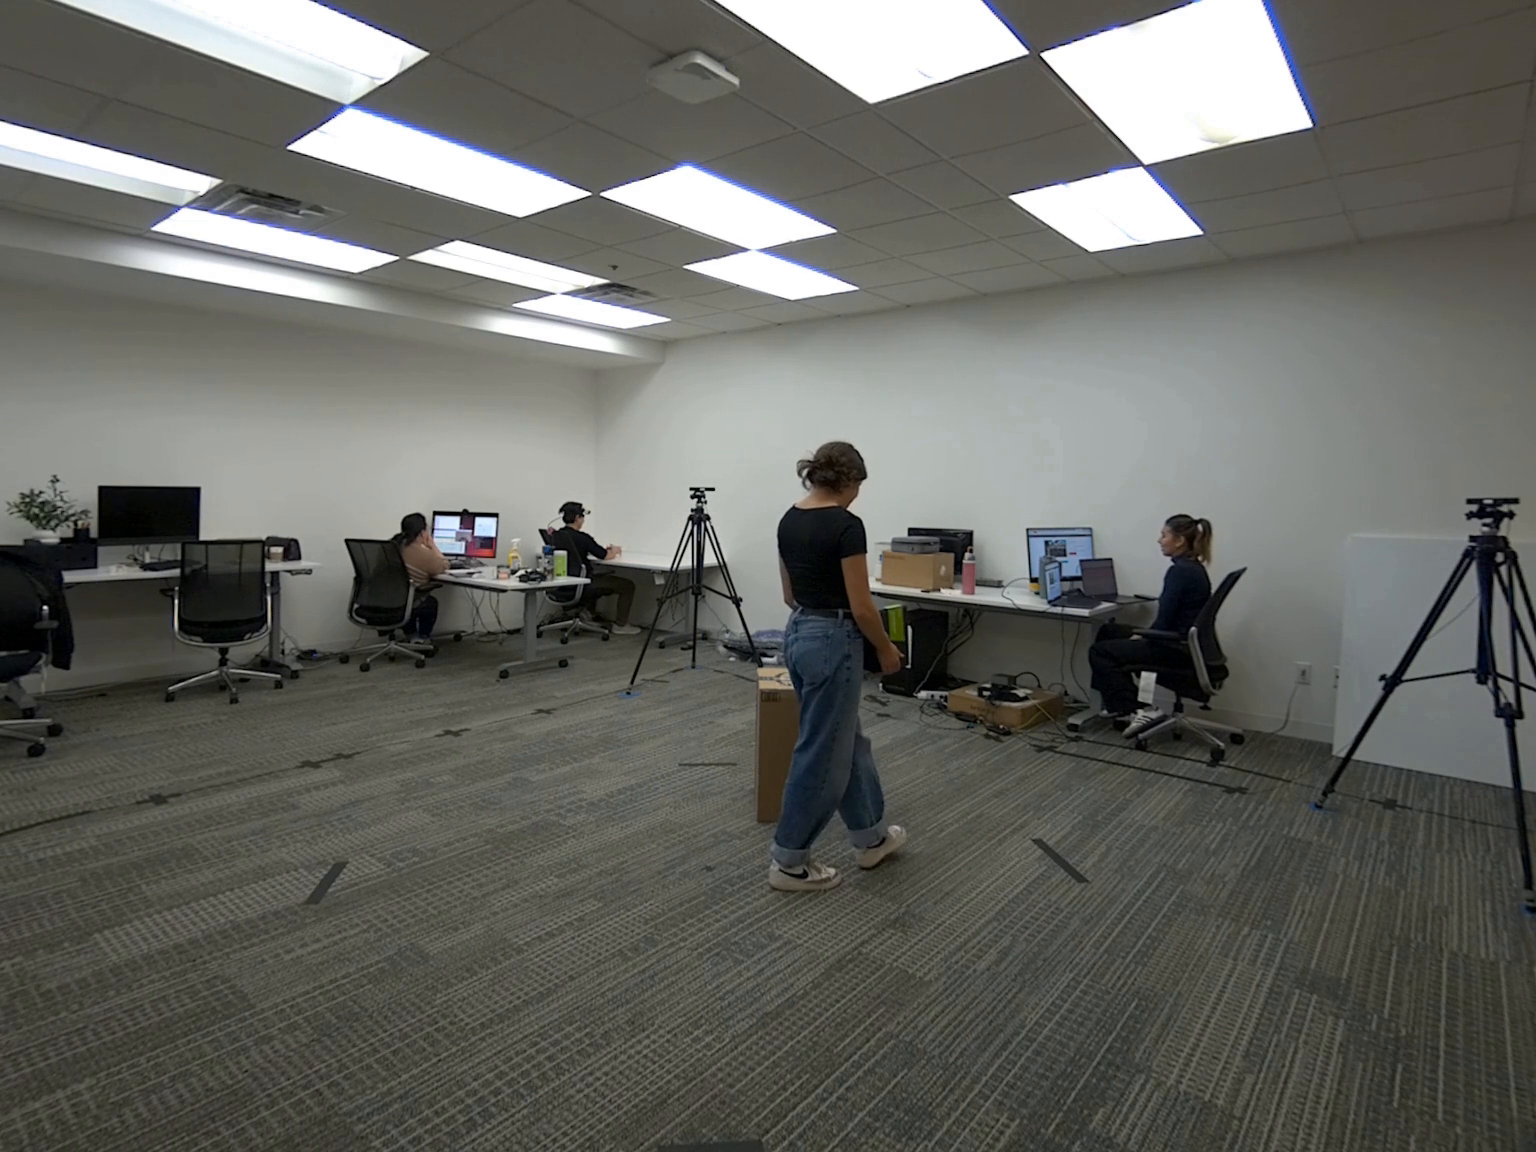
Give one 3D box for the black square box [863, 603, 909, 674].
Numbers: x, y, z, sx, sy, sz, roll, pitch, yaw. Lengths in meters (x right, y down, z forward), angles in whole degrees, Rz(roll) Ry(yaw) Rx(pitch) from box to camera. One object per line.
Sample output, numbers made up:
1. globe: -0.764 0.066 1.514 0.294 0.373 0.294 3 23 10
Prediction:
1. black square box: 0.389 0.213 3.092 0.152 0.226 0.224 -8 10 -27
